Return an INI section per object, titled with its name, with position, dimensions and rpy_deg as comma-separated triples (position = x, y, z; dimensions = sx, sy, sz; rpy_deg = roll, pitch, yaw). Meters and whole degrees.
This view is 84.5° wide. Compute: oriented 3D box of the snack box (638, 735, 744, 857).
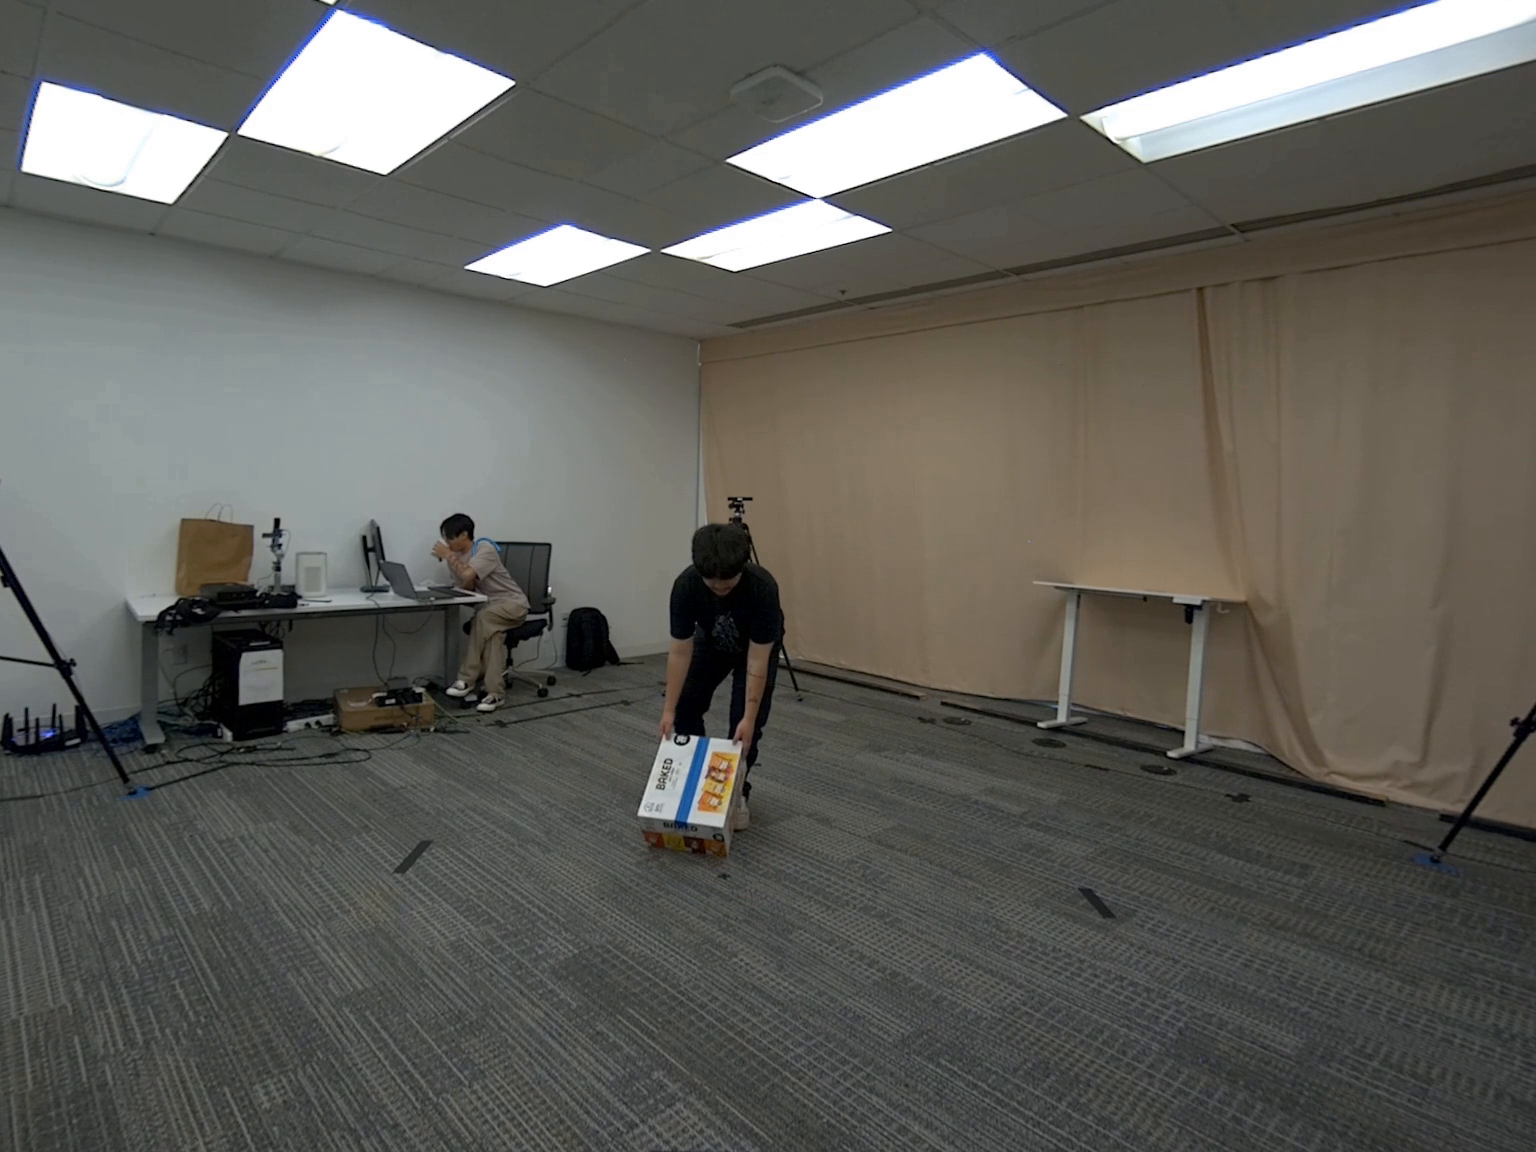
[snack box]
position = -0.304, 0.878, 3.396
dimensions = 0.343, 0.201, 0.411
rpy_deg = 3, 41, 11
